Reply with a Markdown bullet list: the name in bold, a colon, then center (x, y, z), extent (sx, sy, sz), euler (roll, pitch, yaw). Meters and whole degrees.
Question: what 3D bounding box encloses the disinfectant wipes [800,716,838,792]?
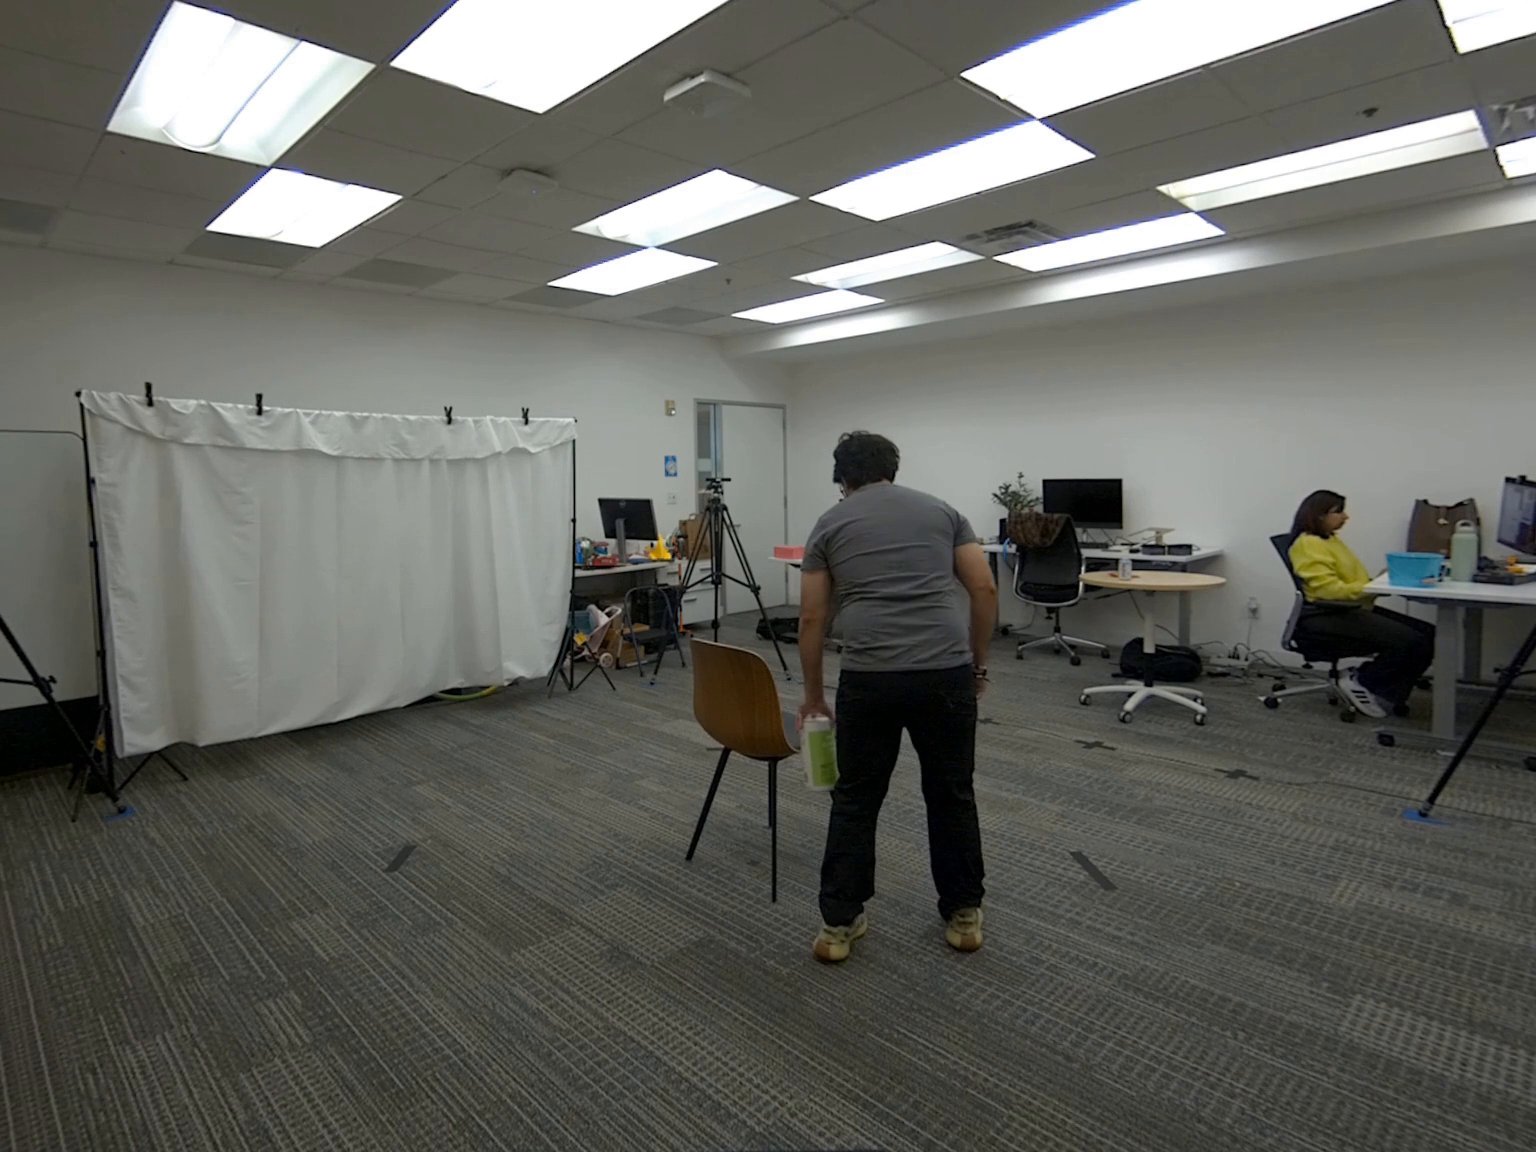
- **disinfectant wipes**: center (0.171, 0.568, 2.704), extent (0.117, 0.219, 0.117), euler (-5, -5, -2)
